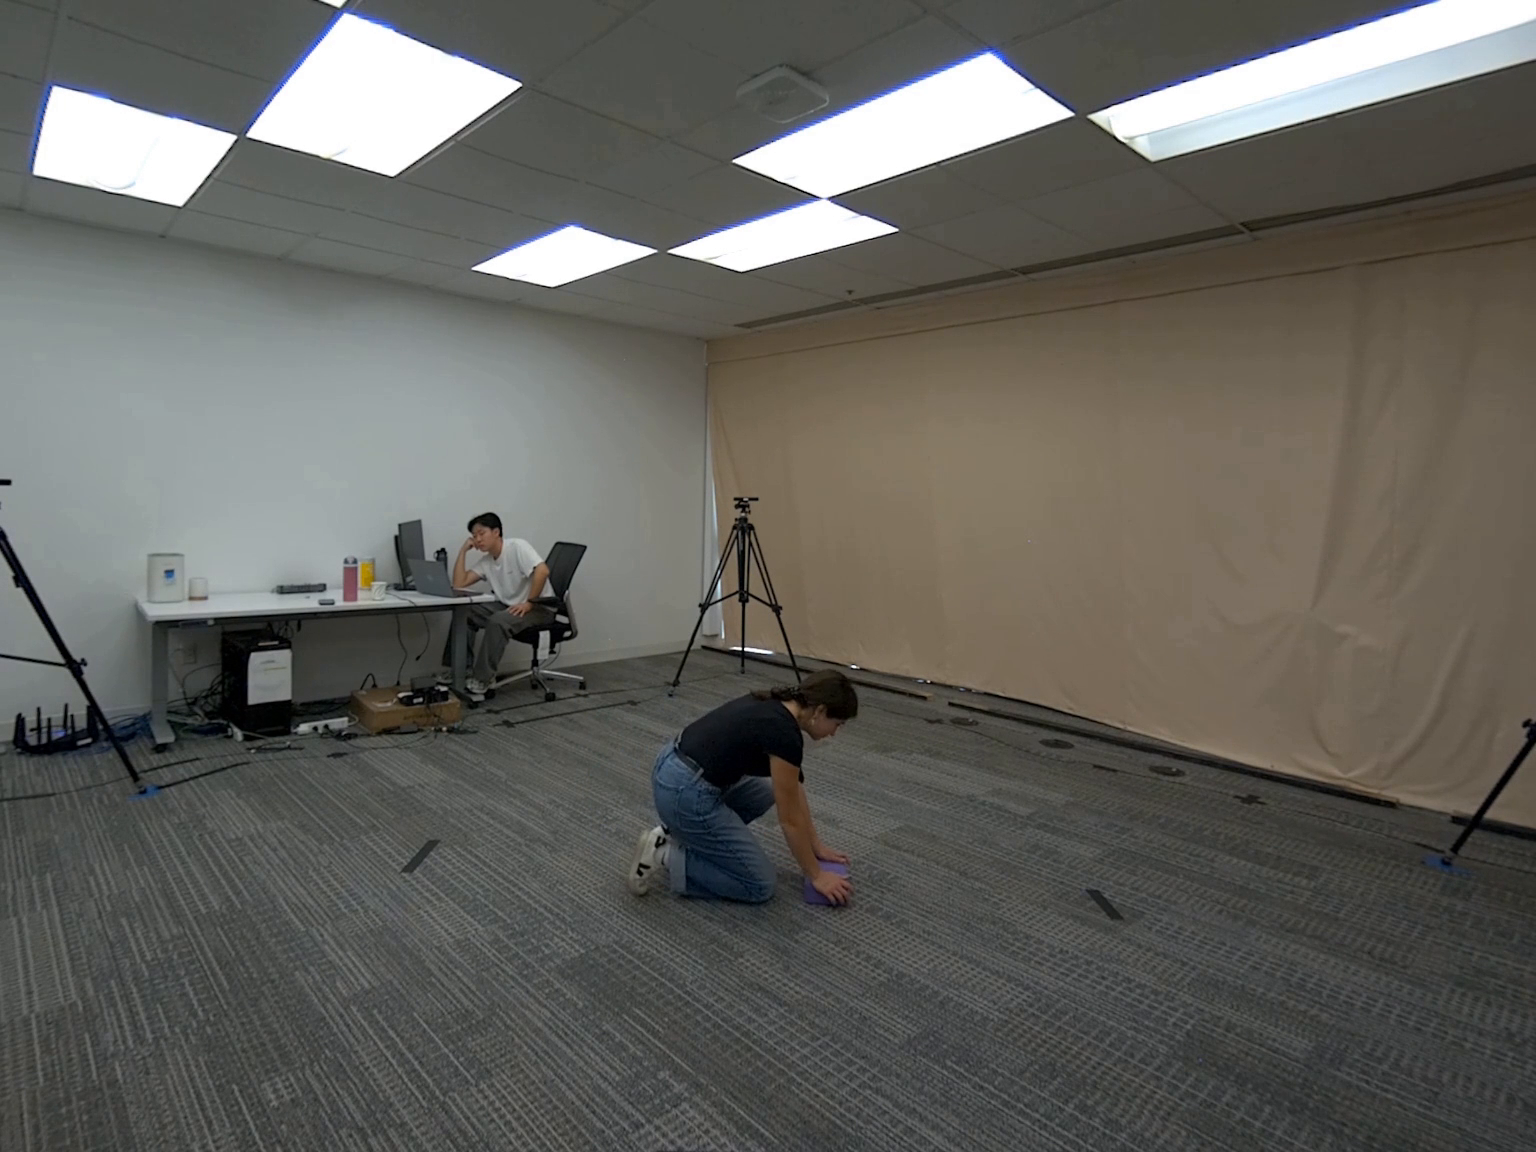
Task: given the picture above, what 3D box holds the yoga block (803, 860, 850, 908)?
[{"bbox_3d":[0.201,1.099,2.991,0.149,0.076,0.229,4,8,3],"label":"yoga block"}]
